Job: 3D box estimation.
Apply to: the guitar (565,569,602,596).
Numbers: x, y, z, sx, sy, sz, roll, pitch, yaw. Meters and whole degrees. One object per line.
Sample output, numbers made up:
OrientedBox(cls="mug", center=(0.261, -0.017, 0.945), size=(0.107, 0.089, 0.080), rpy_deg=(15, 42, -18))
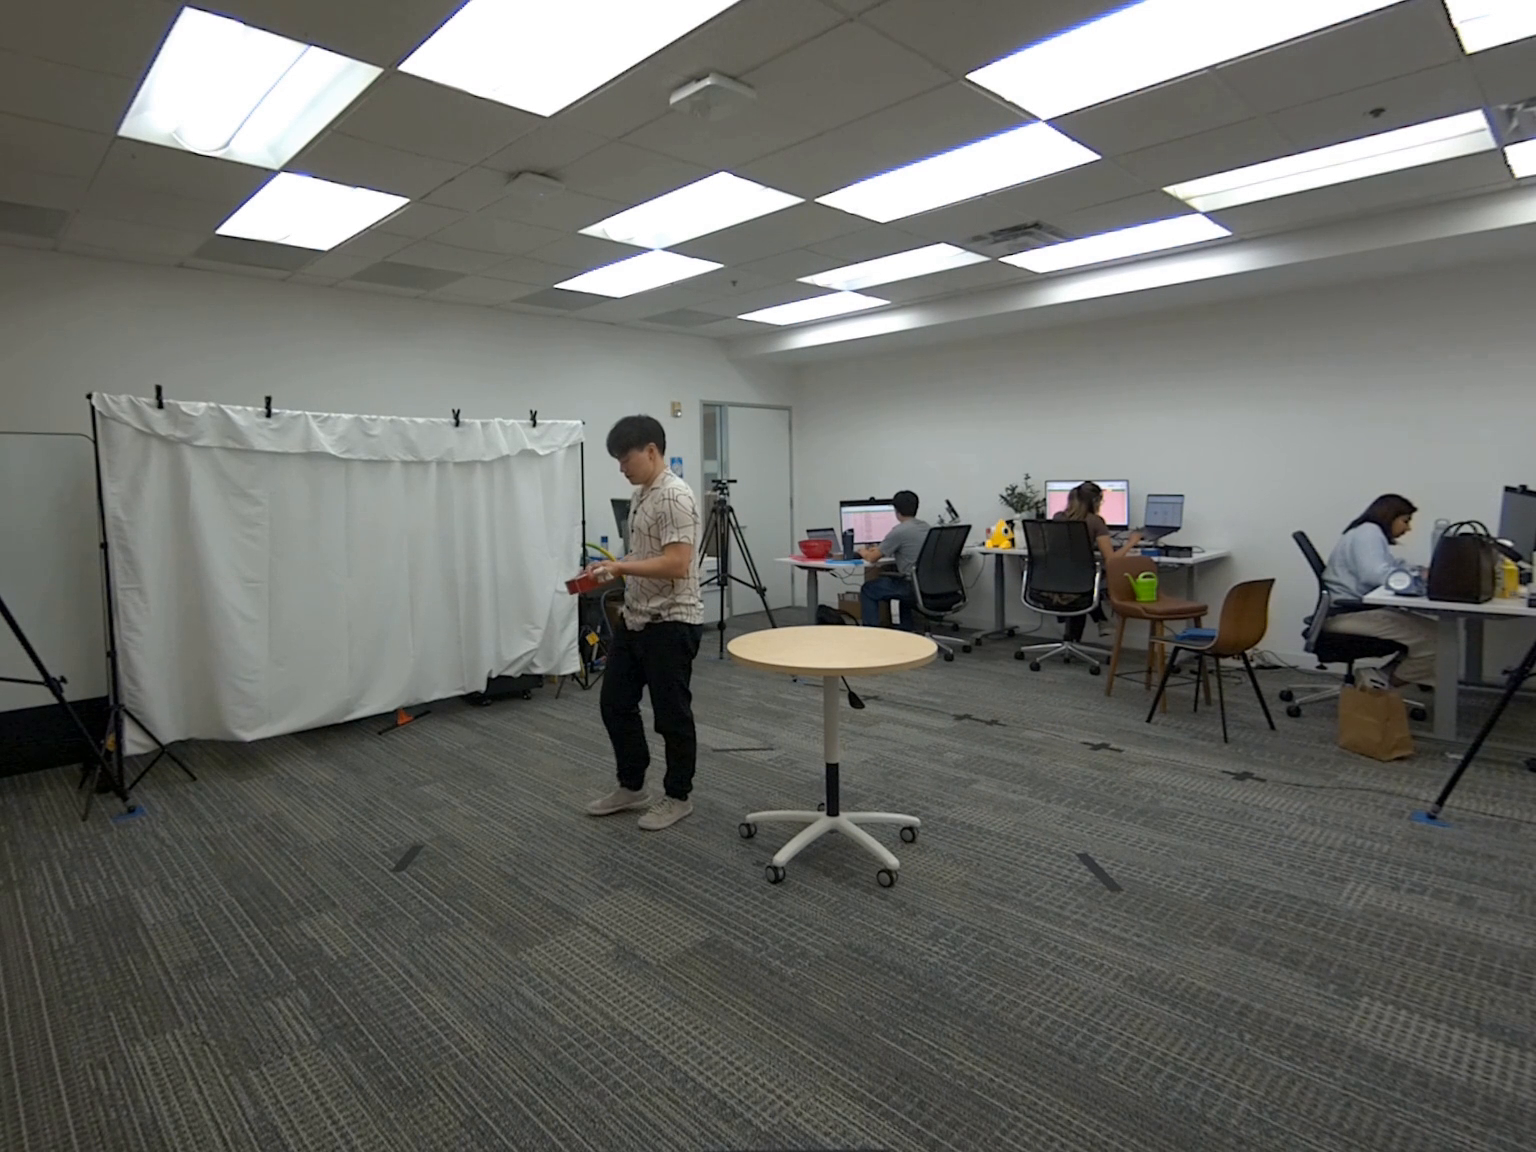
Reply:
OrientedBox(cls="guitar", center=(-0.691, 0.022, 3.273), size=(0.192, 0.070, 0.503), rpy_deg=(-22, 7, -9))
